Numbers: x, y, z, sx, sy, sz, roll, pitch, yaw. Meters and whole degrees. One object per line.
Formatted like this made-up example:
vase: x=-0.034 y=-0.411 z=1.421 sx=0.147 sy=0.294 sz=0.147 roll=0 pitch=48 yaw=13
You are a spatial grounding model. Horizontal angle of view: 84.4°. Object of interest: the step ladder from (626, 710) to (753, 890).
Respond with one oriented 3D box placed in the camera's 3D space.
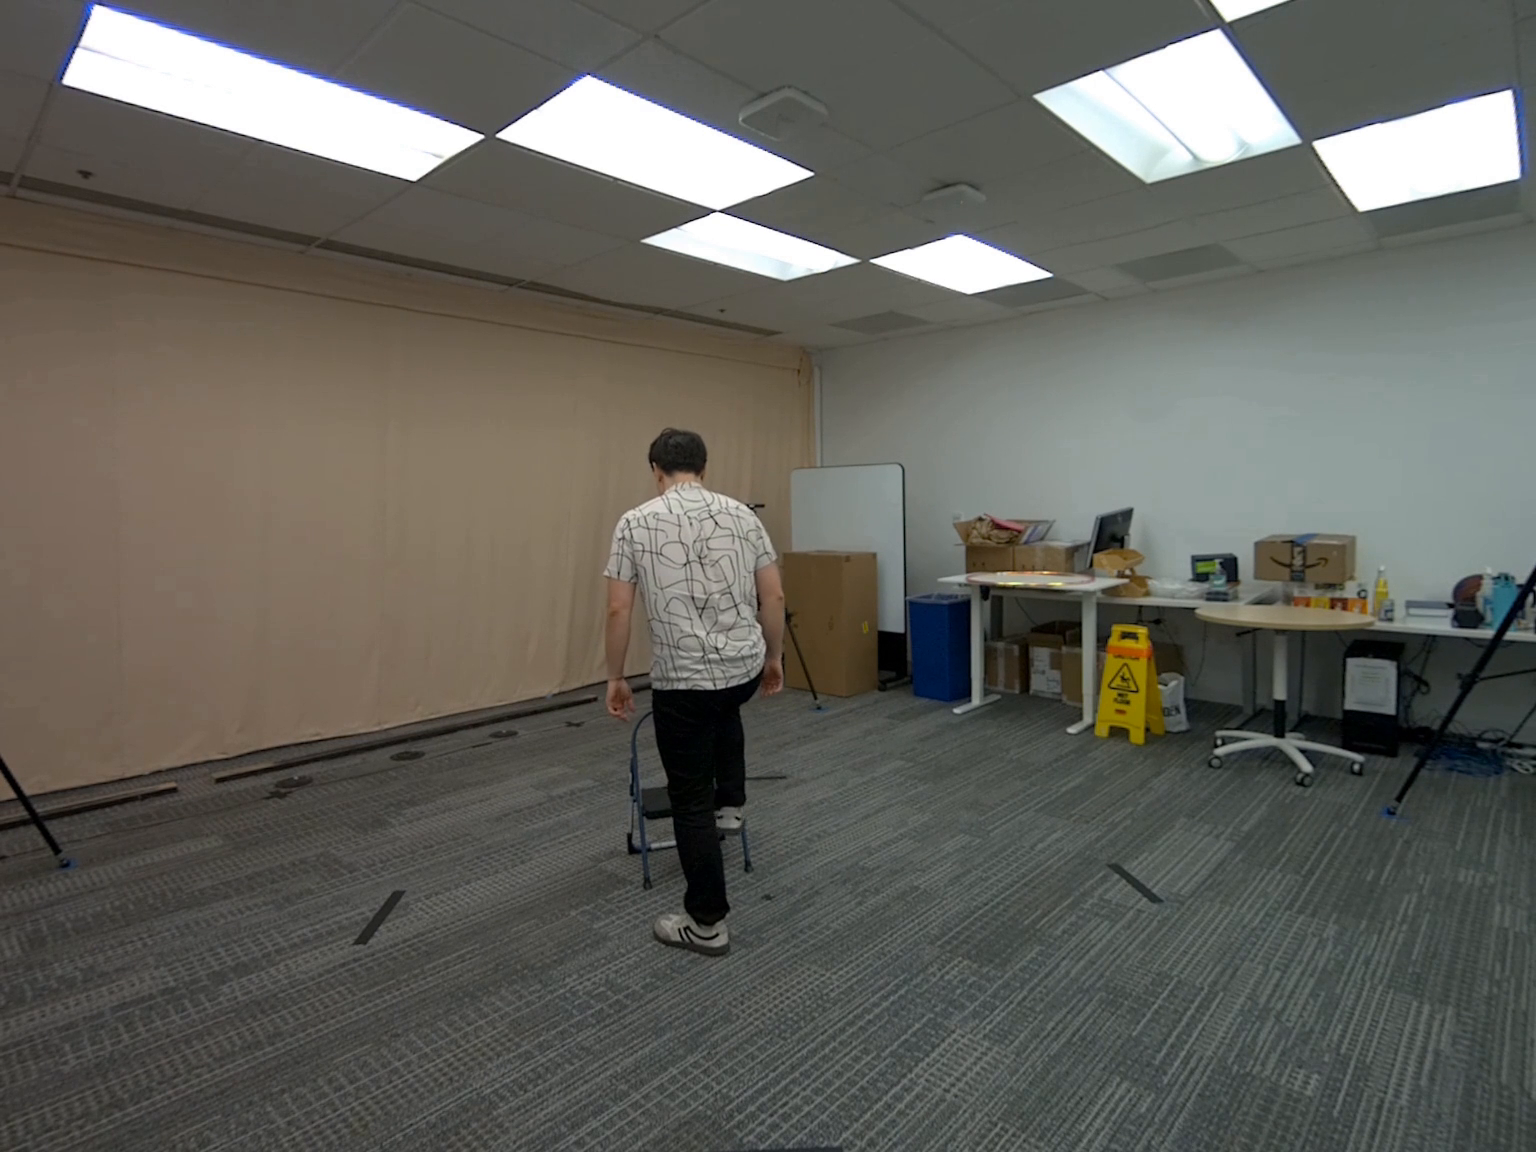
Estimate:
step ladder: x=-0.318 y=0.817 z=3.281 sx=0.422 sy=0.605 sz=0.357 roll=-2 pitch=4 yaw=-20
